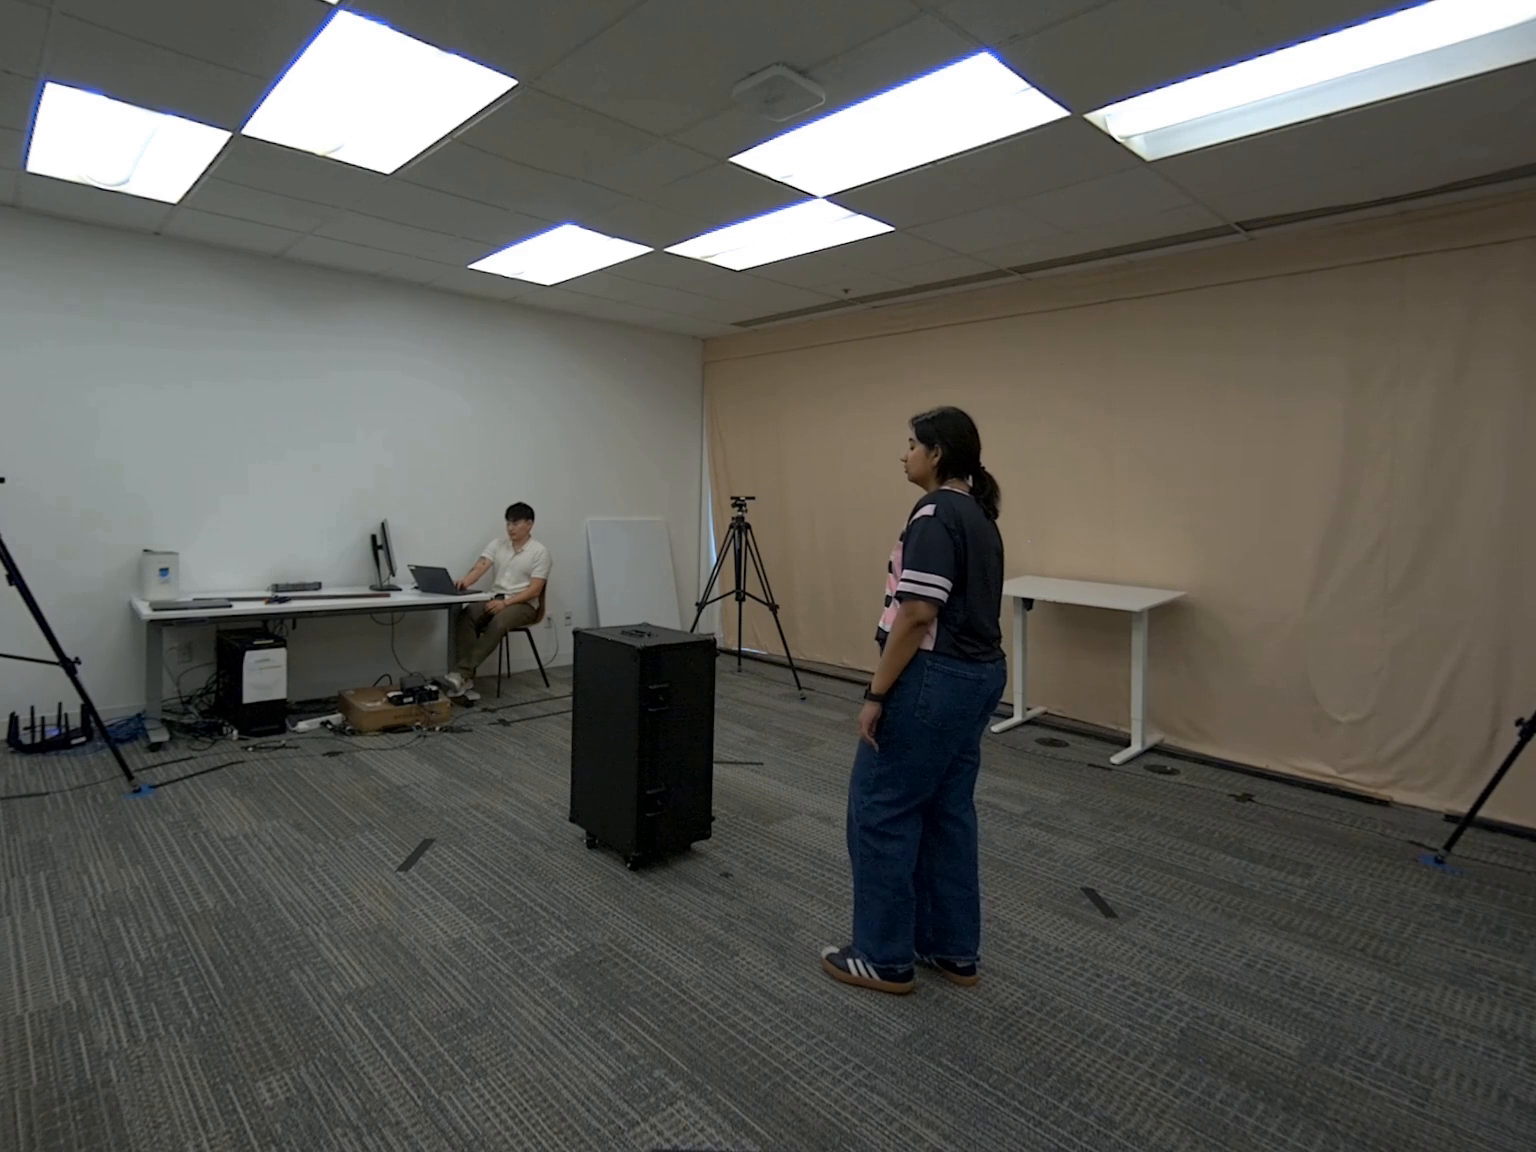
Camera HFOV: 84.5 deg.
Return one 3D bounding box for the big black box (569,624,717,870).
[{"bbox_3d":[-0.512,0.654,3.327,0.376,0.866,0.537,-1,5,-42],"label":"big black box"}]
